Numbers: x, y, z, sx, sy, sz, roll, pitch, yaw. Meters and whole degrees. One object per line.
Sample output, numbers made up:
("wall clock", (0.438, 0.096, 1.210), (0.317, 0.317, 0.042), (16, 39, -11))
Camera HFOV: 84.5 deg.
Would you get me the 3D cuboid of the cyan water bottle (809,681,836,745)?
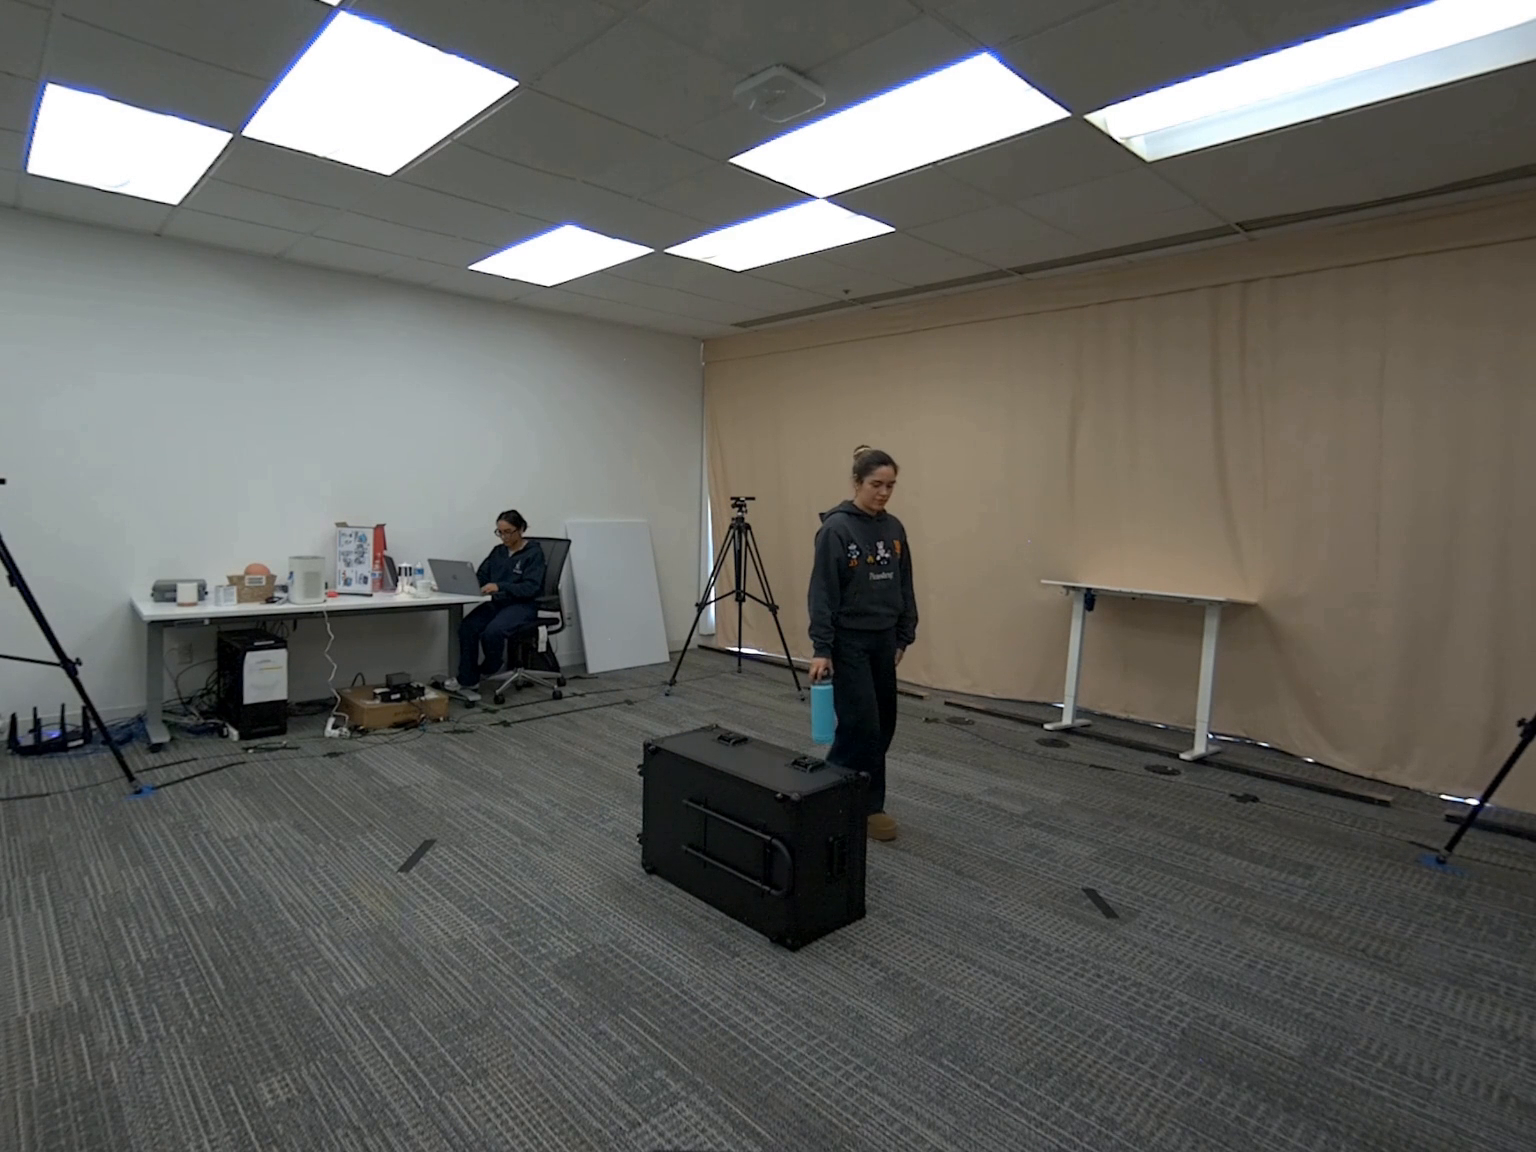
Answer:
("cyan water bottle", (0.211, 0.516, 3.362), (0.092, 0.283, 0.092), (-2, 2, -1))
